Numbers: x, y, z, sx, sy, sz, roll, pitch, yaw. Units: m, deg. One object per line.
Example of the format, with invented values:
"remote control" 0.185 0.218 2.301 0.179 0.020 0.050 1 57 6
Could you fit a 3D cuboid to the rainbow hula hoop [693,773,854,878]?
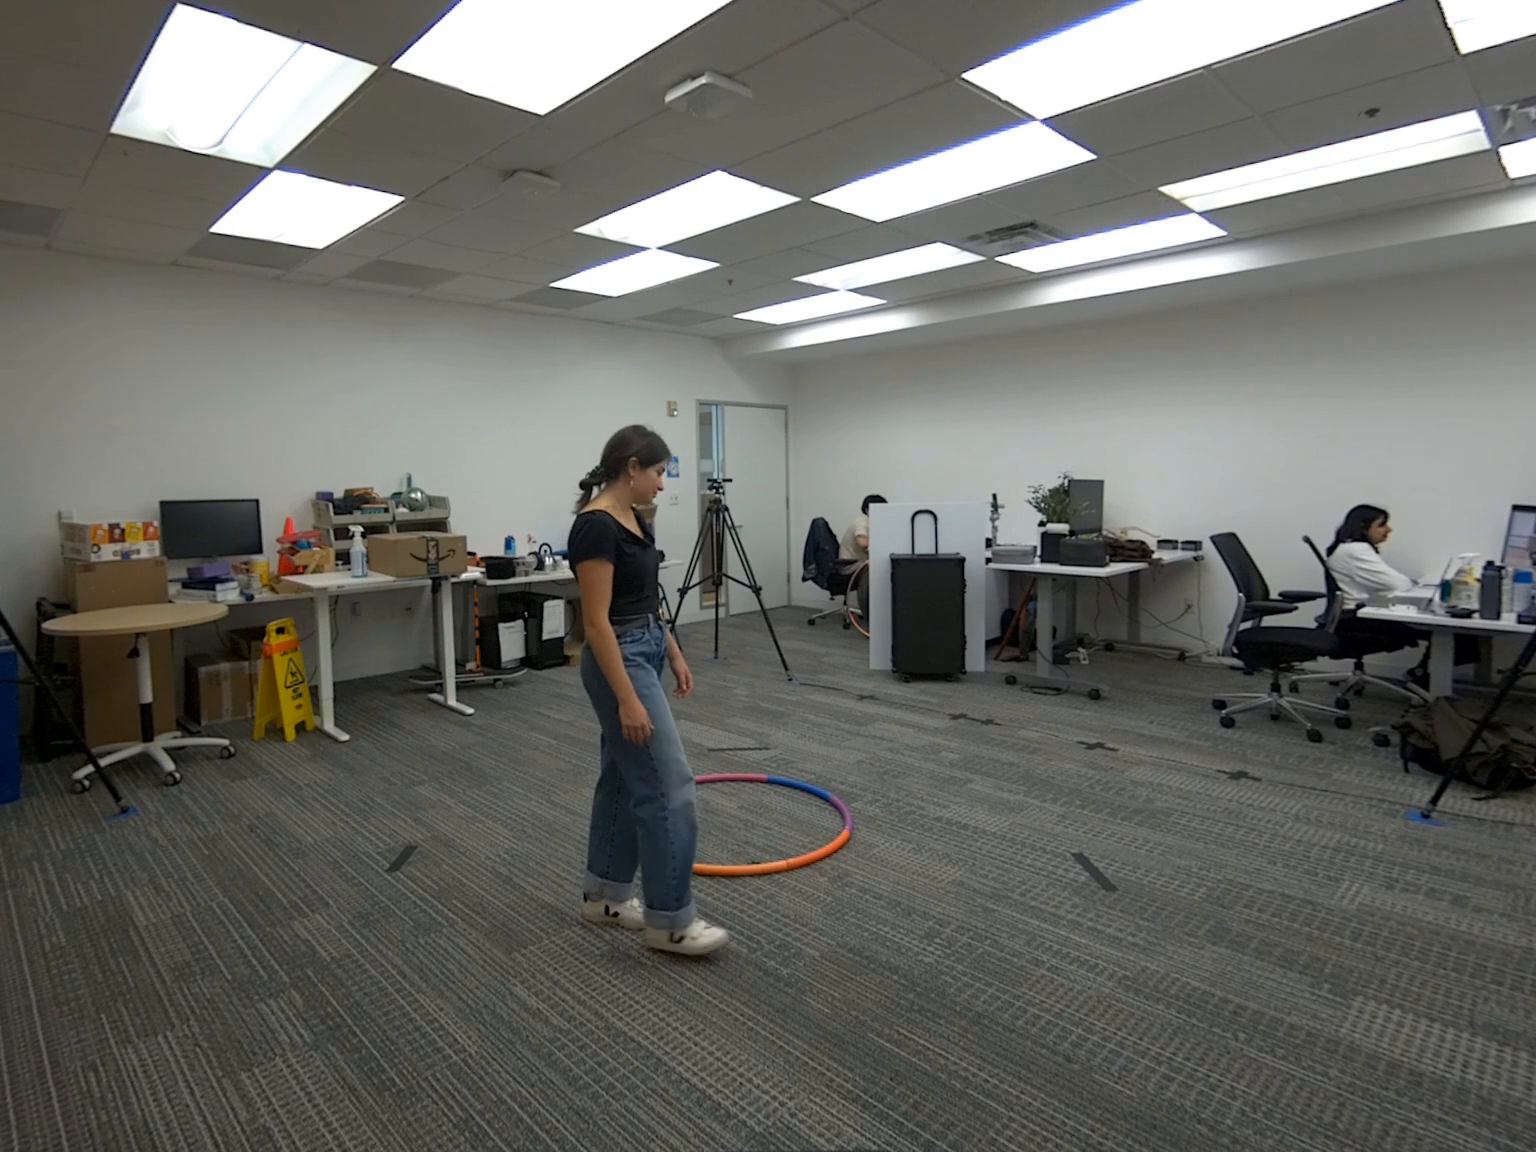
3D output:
"rainbow hula hoop" -0.151 0.973 3.486 0.978 0.035 0.984 -1 7 -2
